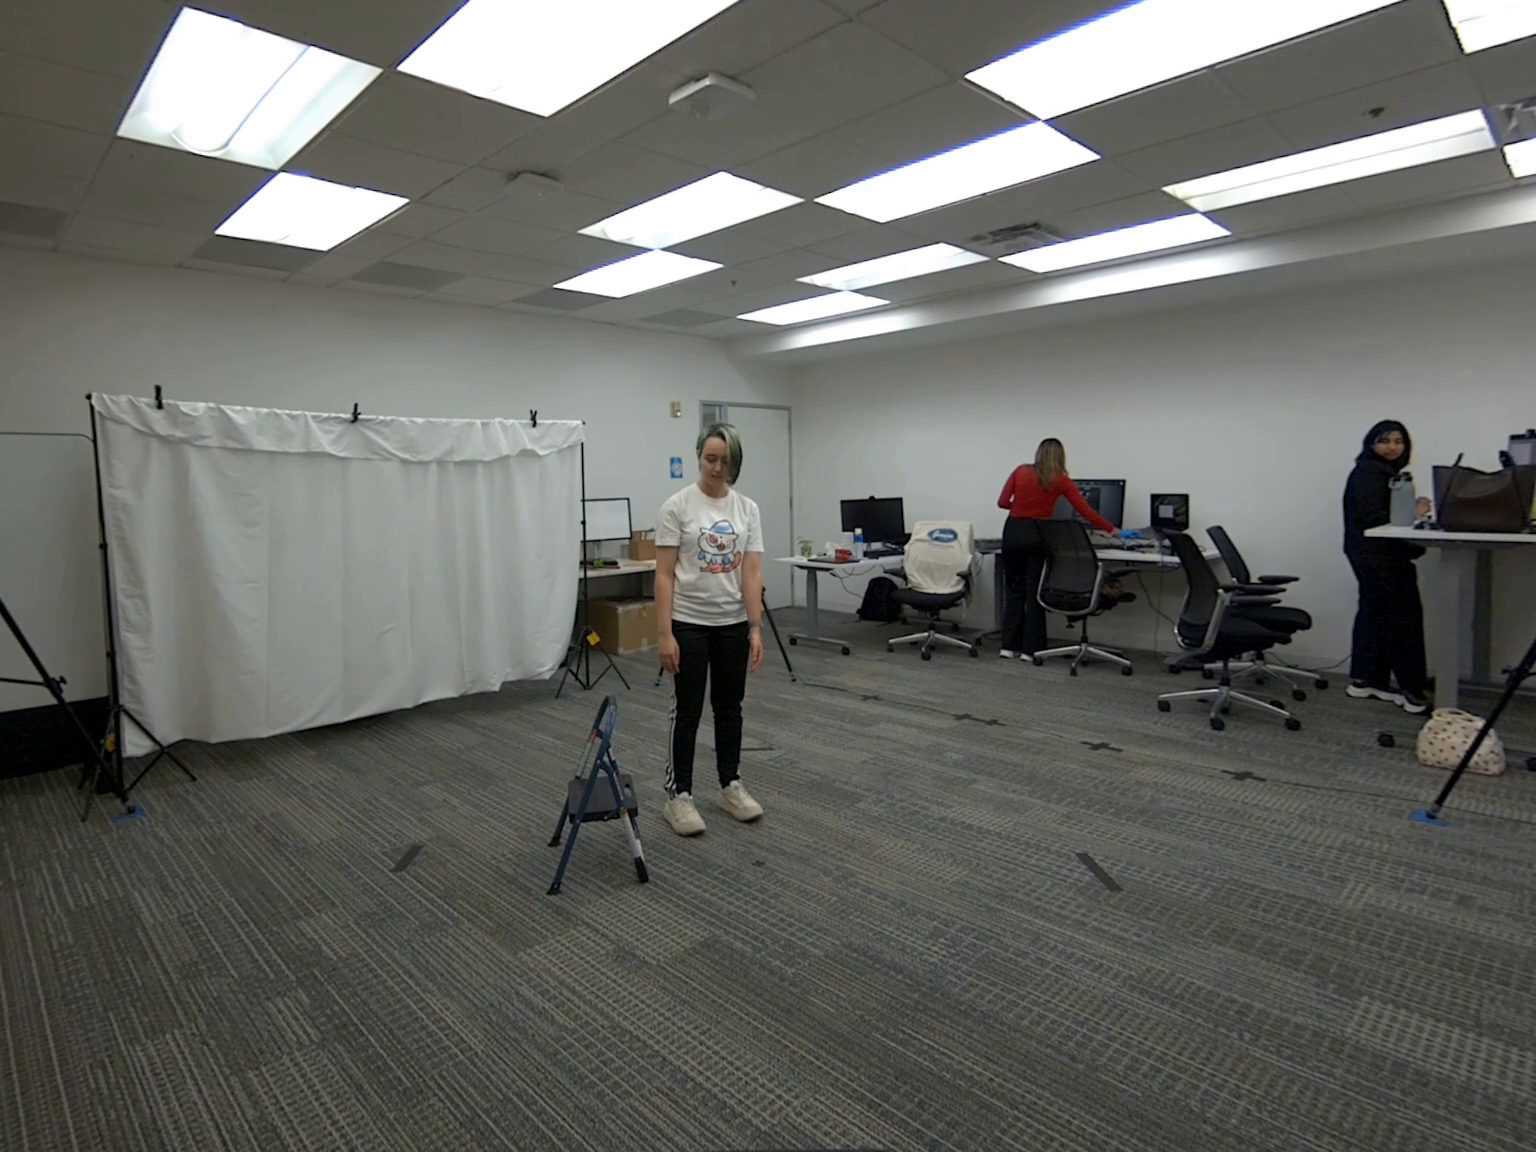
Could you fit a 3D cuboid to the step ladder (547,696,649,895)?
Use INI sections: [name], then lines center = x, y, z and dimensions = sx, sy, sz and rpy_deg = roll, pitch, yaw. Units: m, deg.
[step ladder]
center = -0.636, 0.757, 3.124
dimensions = 0.345, 0.604, 0.437
rpy_deg = -2, 4, -13
